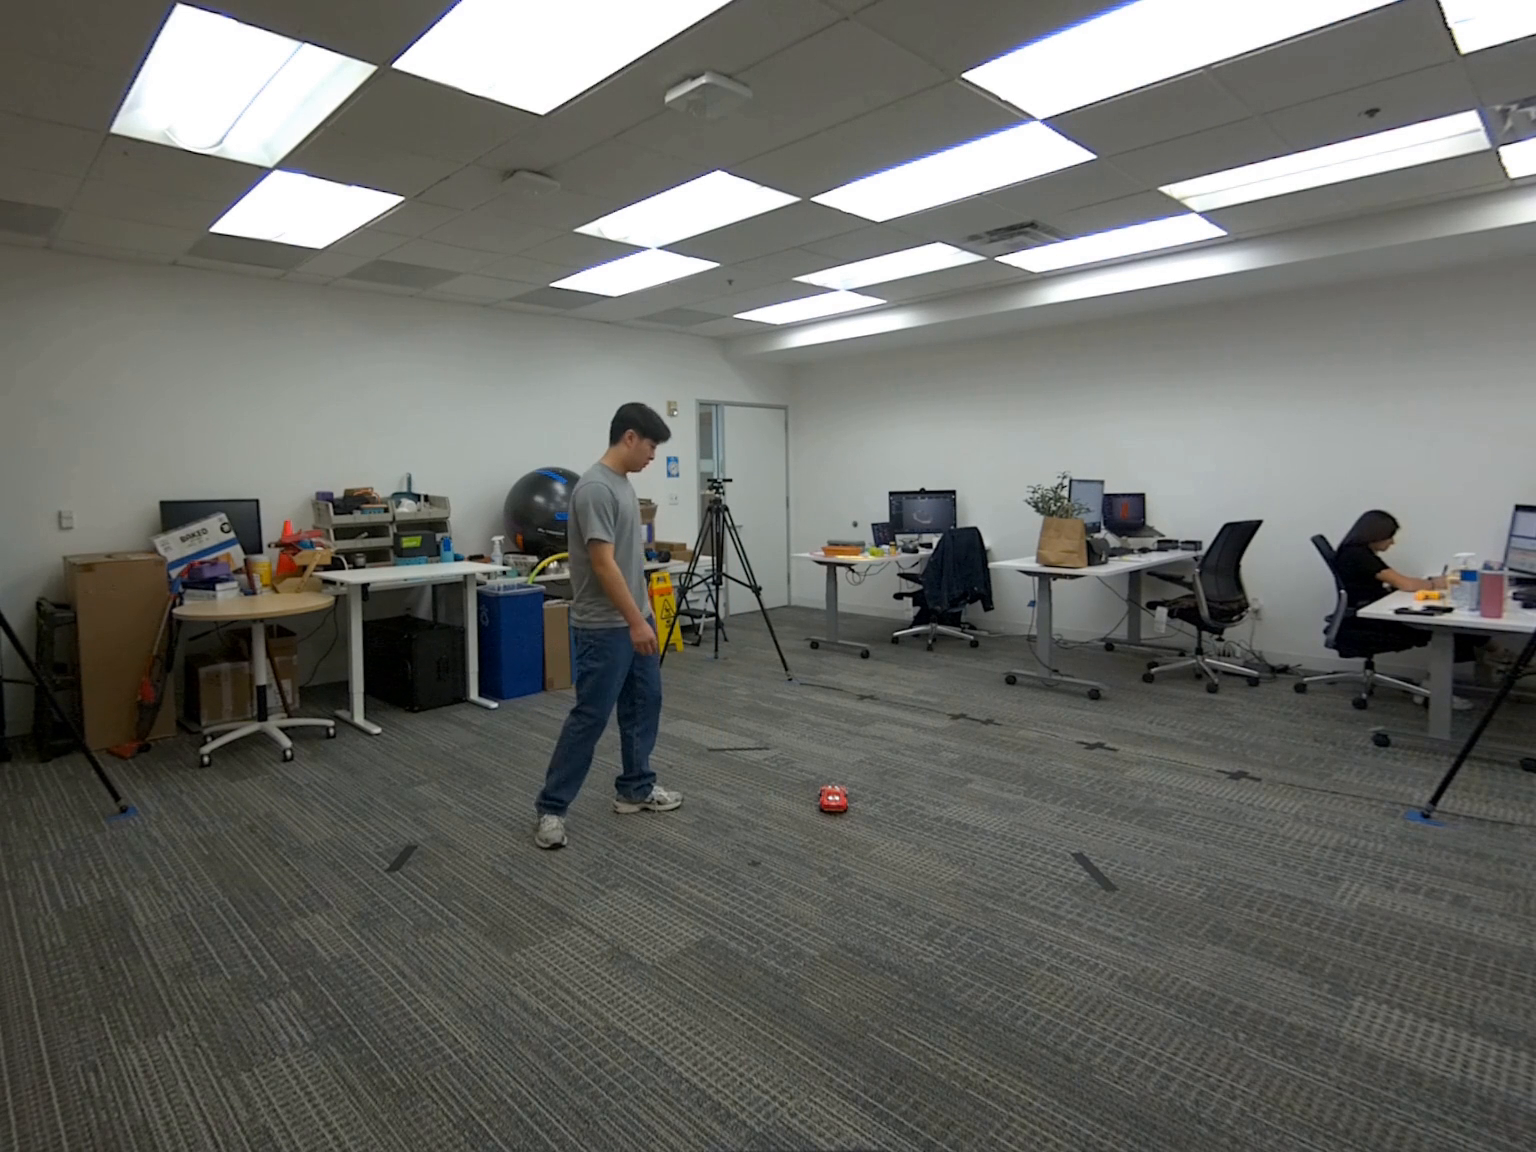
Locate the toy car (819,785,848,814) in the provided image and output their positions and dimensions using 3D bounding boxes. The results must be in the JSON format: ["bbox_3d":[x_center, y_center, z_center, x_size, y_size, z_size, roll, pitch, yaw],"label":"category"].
[{"bbox_3d":[0.279,0.949,3.634,0.131,0.083,0.252,2,-4,3],"label":"toy car"}]
